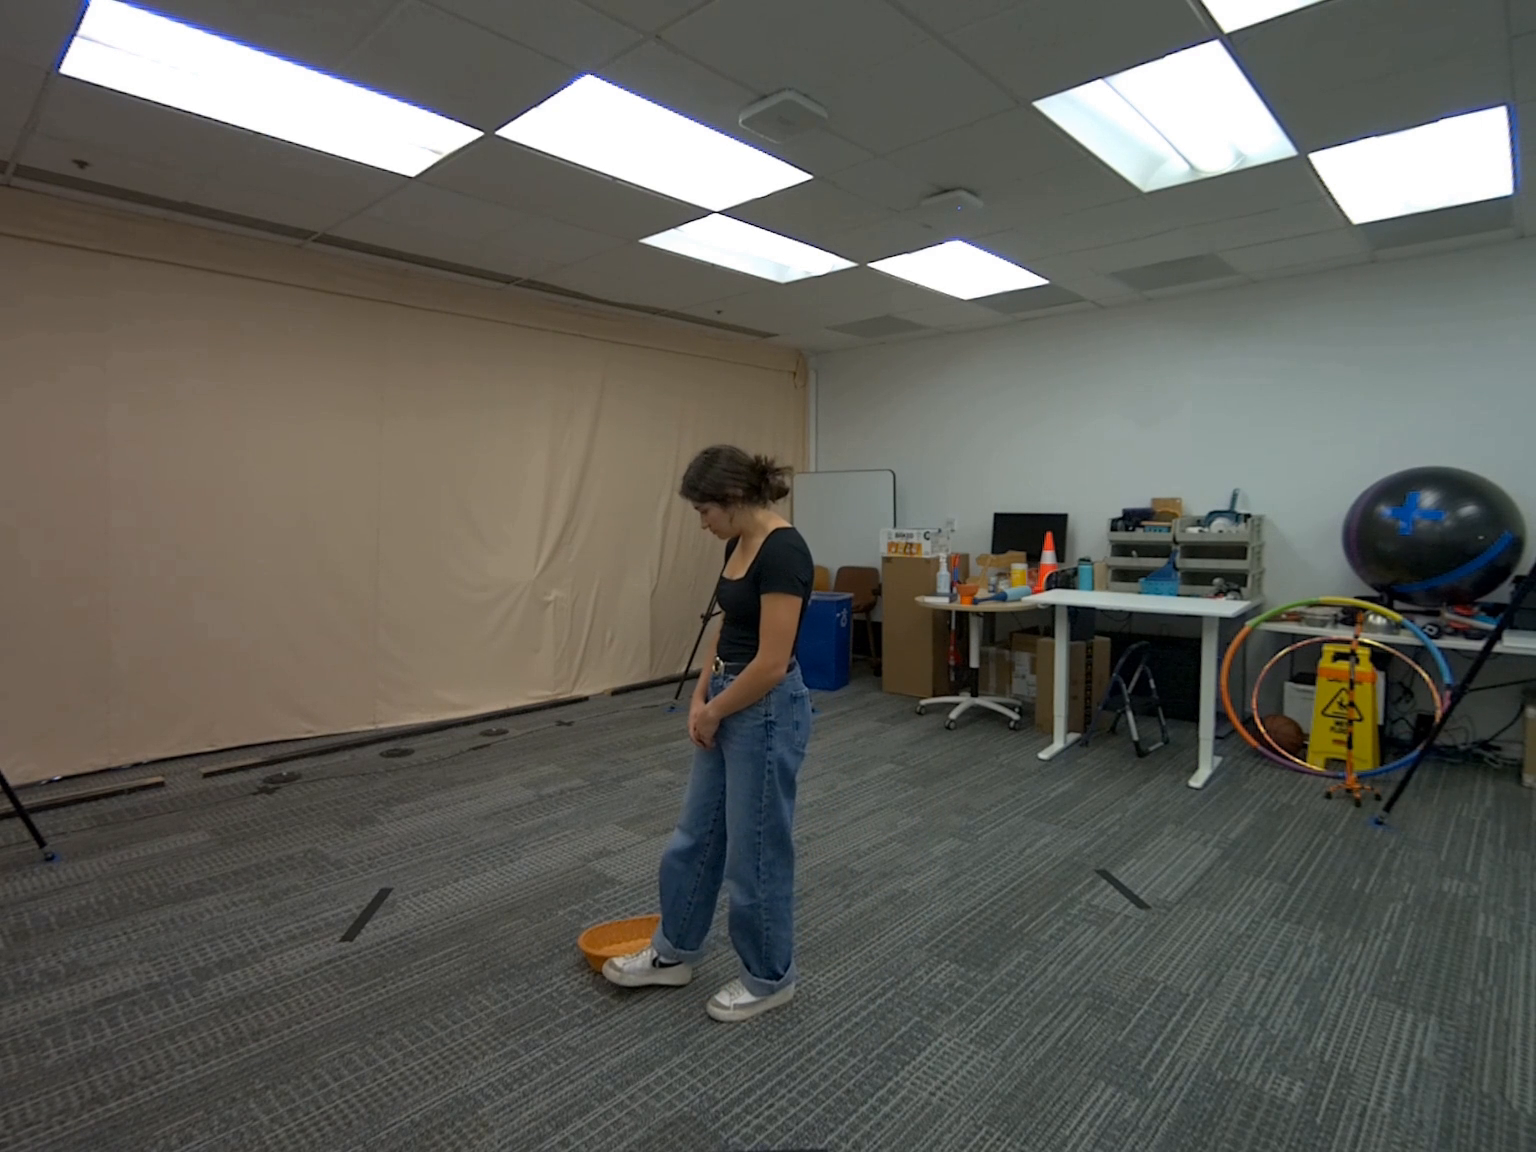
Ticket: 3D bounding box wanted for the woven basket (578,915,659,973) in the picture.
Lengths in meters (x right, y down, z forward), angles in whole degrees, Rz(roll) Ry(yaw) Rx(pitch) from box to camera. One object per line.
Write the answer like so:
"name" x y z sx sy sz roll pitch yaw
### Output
"woven basket" -0.406 1.133 2.592 0.344 0.073 0.257 -2 0 -18
